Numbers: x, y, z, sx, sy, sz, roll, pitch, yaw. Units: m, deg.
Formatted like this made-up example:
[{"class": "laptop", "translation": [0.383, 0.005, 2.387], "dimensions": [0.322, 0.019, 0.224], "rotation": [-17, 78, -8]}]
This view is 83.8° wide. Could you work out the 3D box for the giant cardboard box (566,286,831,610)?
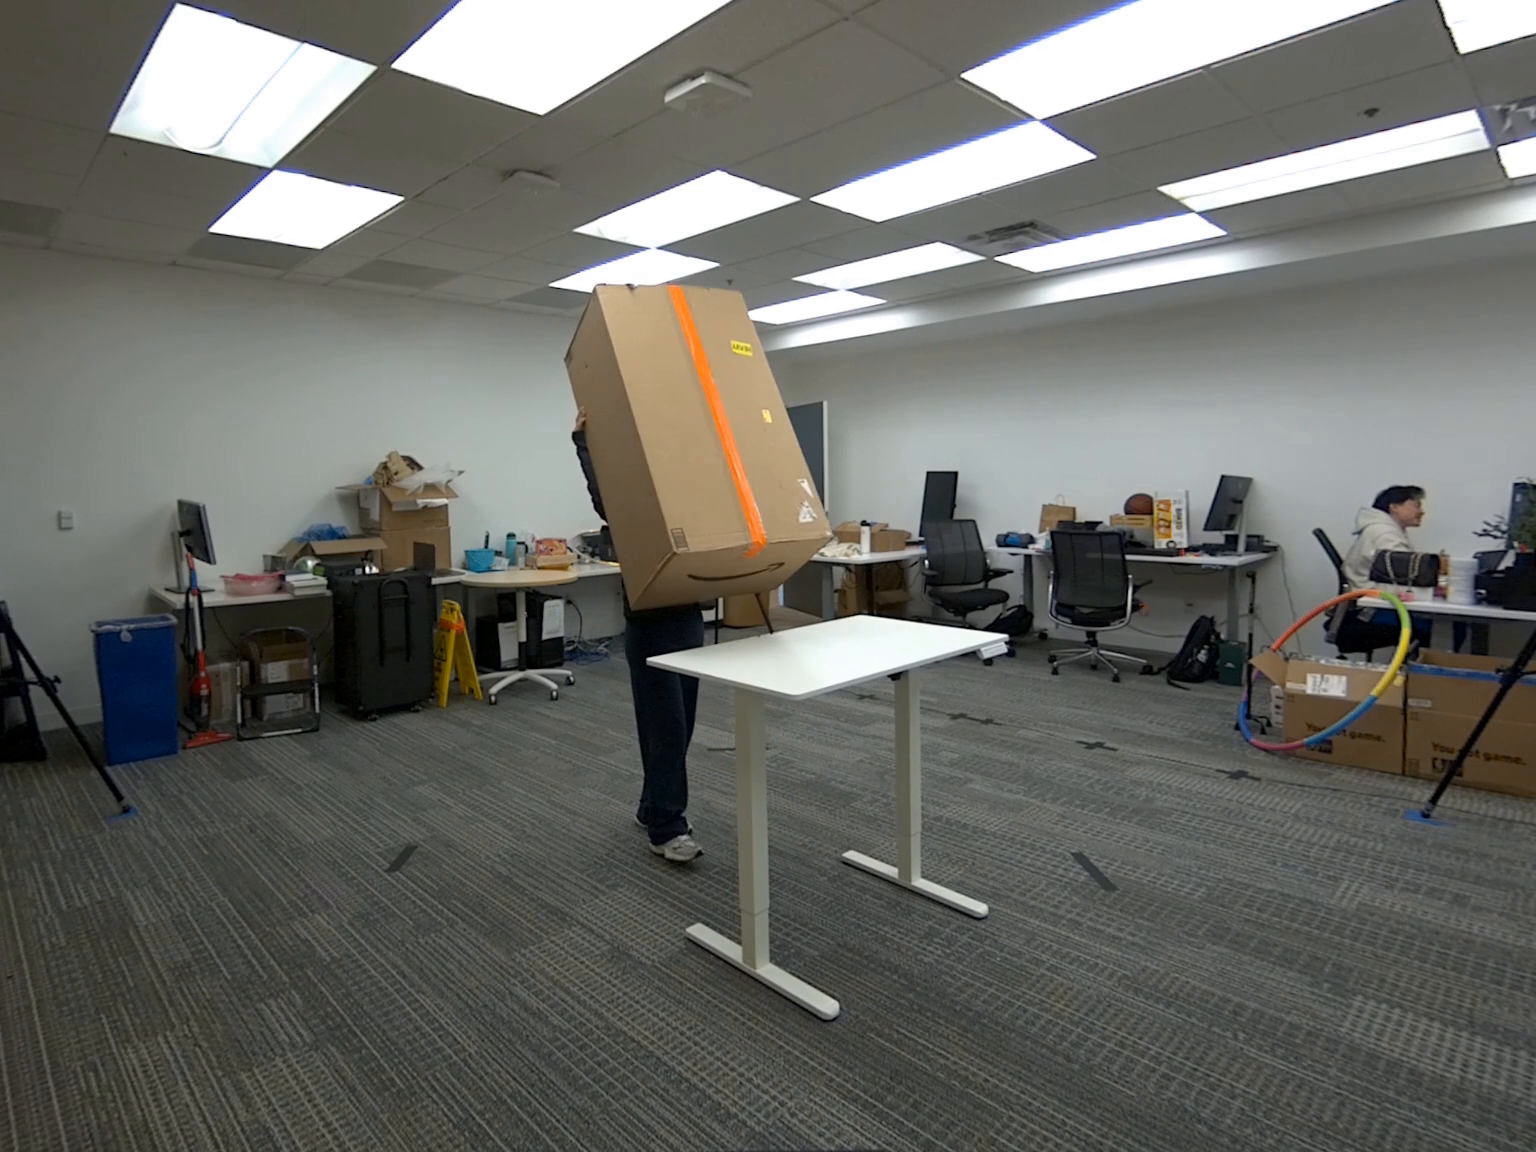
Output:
[{"class": "giant cardboard box", "translation": [-0.274, -0.459, 2.976], "dimensions": [0.571, 1.050, 0.446], "rotation": [-7, -23, -30]}]
